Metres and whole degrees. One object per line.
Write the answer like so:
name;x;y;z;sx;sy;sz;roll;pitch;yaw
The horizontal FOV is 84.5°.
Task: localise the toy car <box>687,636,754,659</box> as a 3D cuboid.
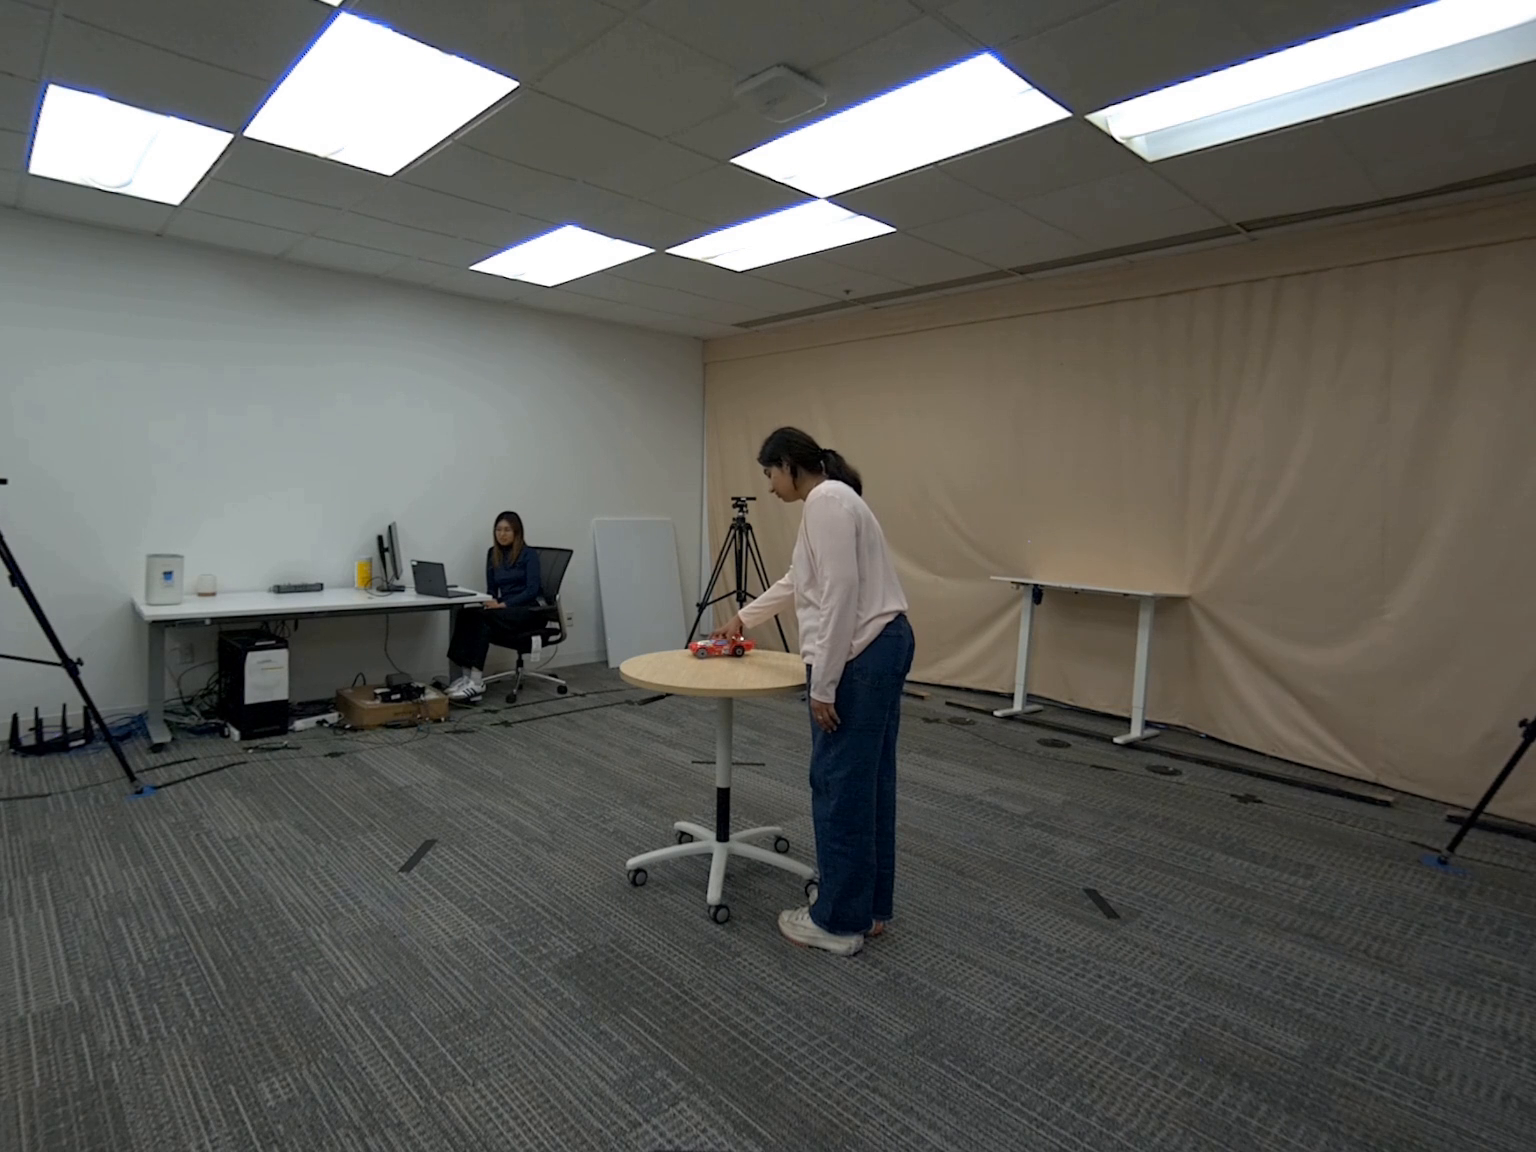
toy car;-0.183;0.280;3.260;0.252;0.083;0.132;-12;7;-15
